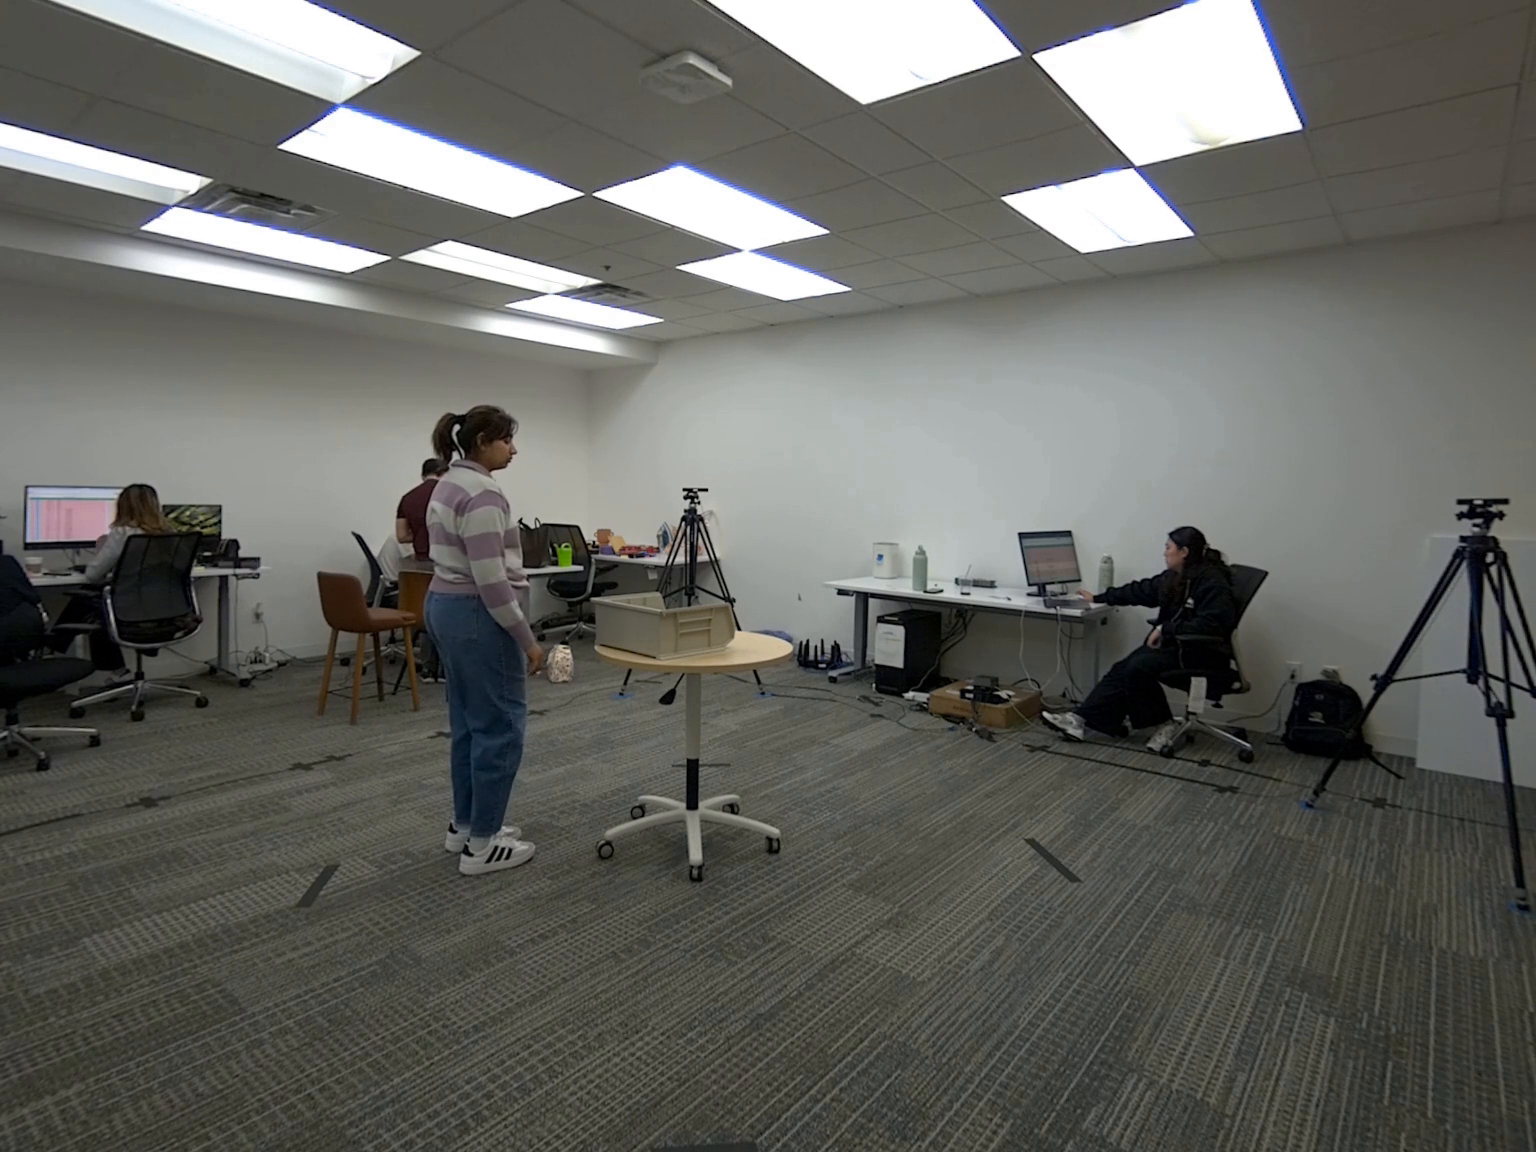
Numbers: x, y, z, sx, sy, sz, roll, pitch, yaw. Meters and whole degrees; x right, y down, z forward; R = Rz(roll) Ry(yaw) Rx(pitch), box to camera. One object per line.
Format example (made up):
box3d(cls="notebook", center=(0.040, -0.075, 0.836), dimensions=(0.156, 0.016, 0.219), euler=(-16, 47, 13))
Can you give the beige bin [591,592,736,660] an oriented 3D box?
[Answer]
box3d(cls="beige bin", center=(-0.414, 0.185, 3.254), dimensions=(0.437, 0.188, 0.366), euler=(6, 9, 44))
